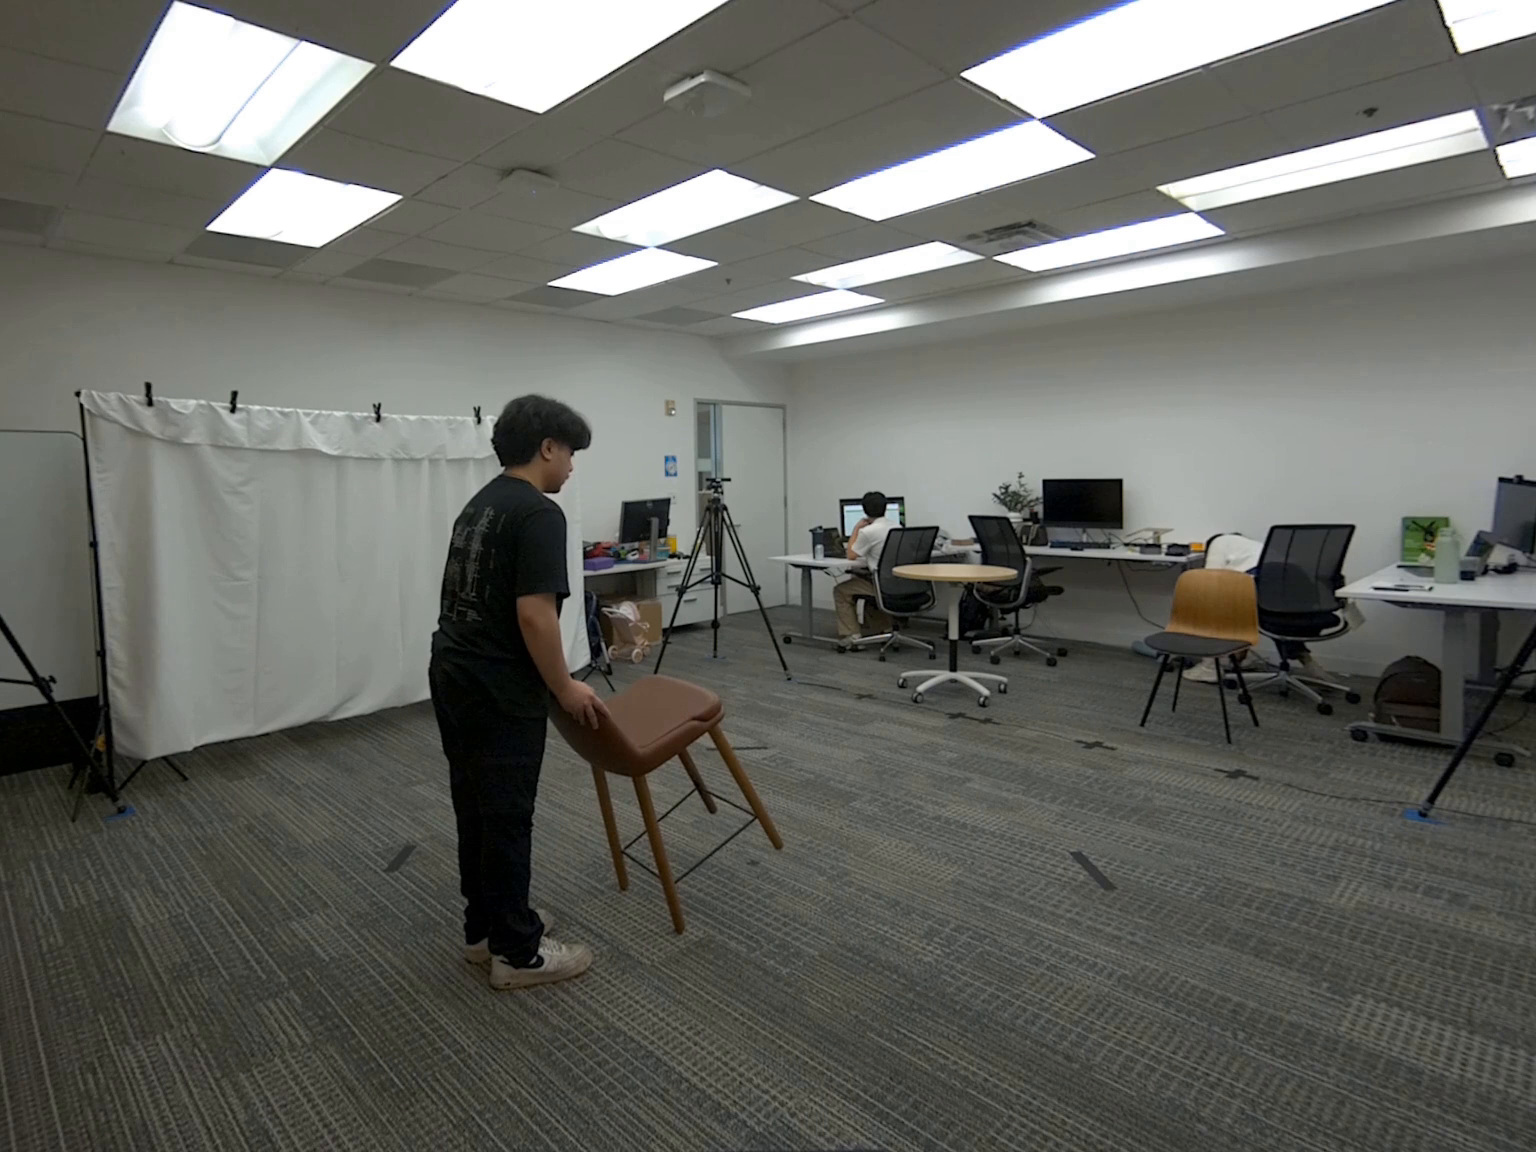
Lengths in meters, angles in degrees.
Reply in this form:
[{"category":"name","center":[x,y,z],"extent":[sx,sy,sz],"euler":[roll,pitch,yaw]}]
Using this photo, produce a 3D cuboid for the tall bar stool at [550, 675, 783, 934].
[{"category":"tall bar stool","center":[-0.367,0.604,2.769],"extent":[0.463,0.871,0.470],"euler":[-32,21,-31]}]
